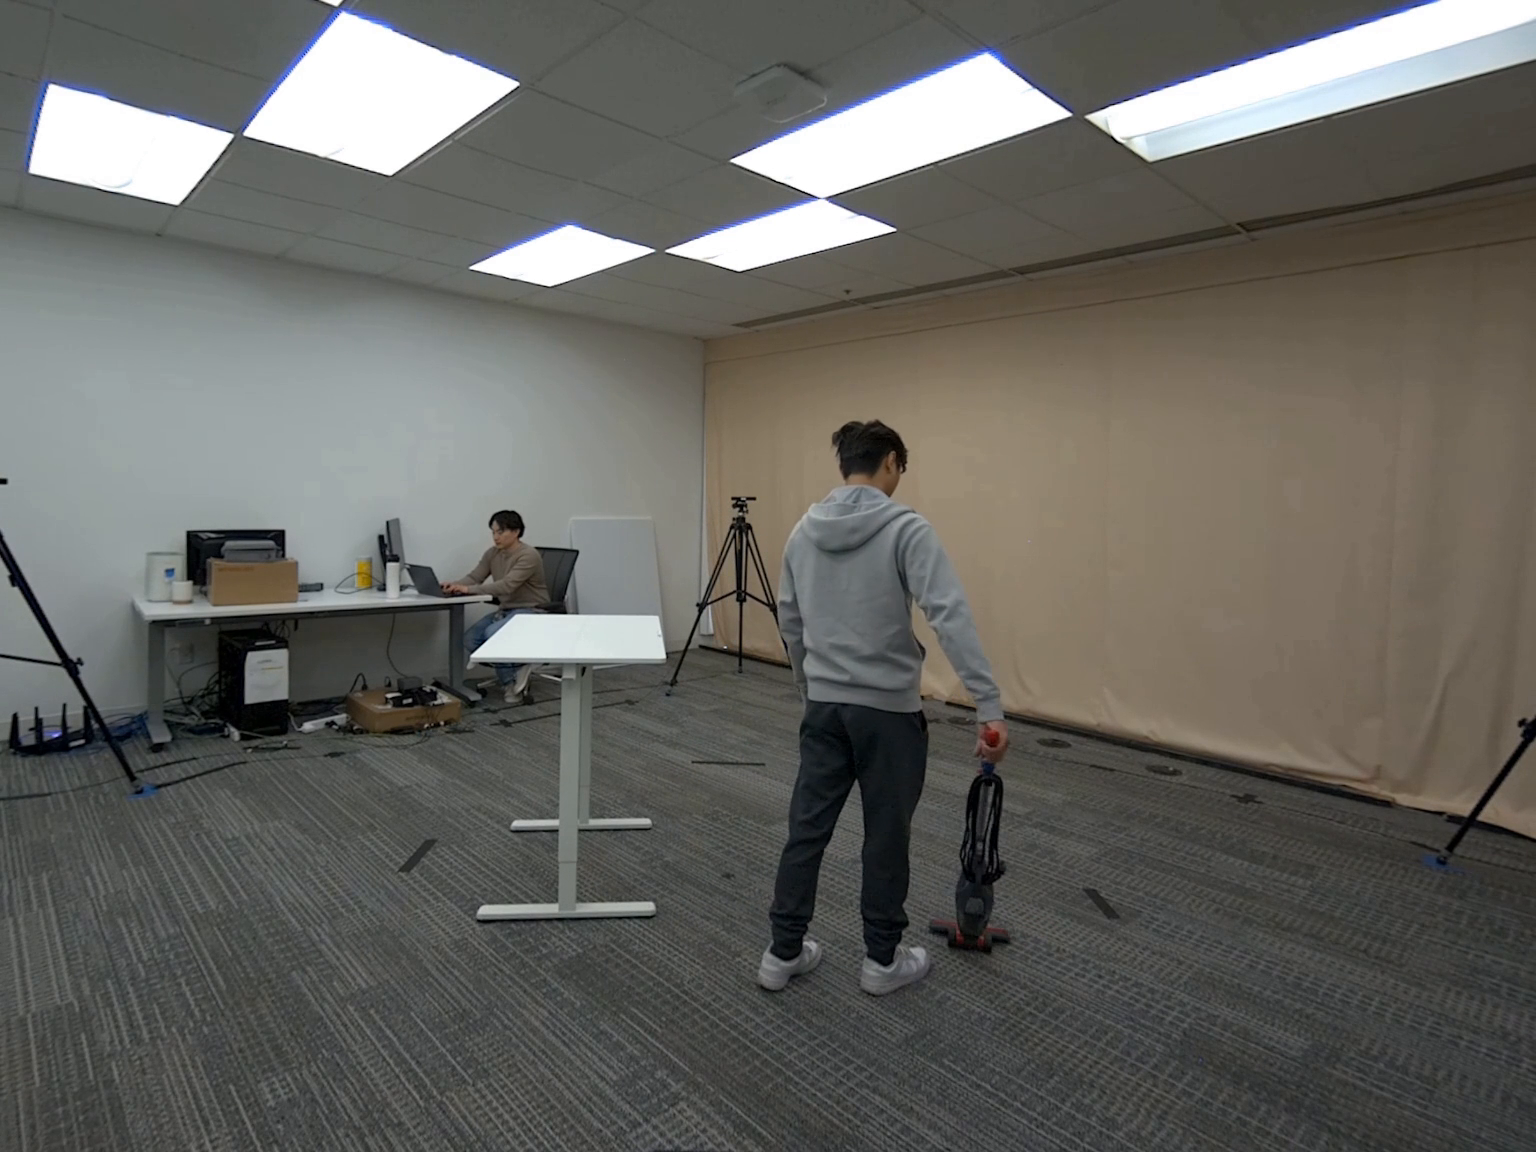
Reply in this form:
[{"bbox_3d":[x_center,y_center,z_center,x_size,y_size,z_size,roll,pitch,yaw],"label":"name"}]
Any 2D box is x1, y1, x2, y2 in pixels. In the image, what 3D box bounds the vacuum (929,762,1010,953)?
[{"bbox_3d":[0.589,0.774,2.367,0.256,1.023,0.146,5,42,15],"label":"vacuum"}]
